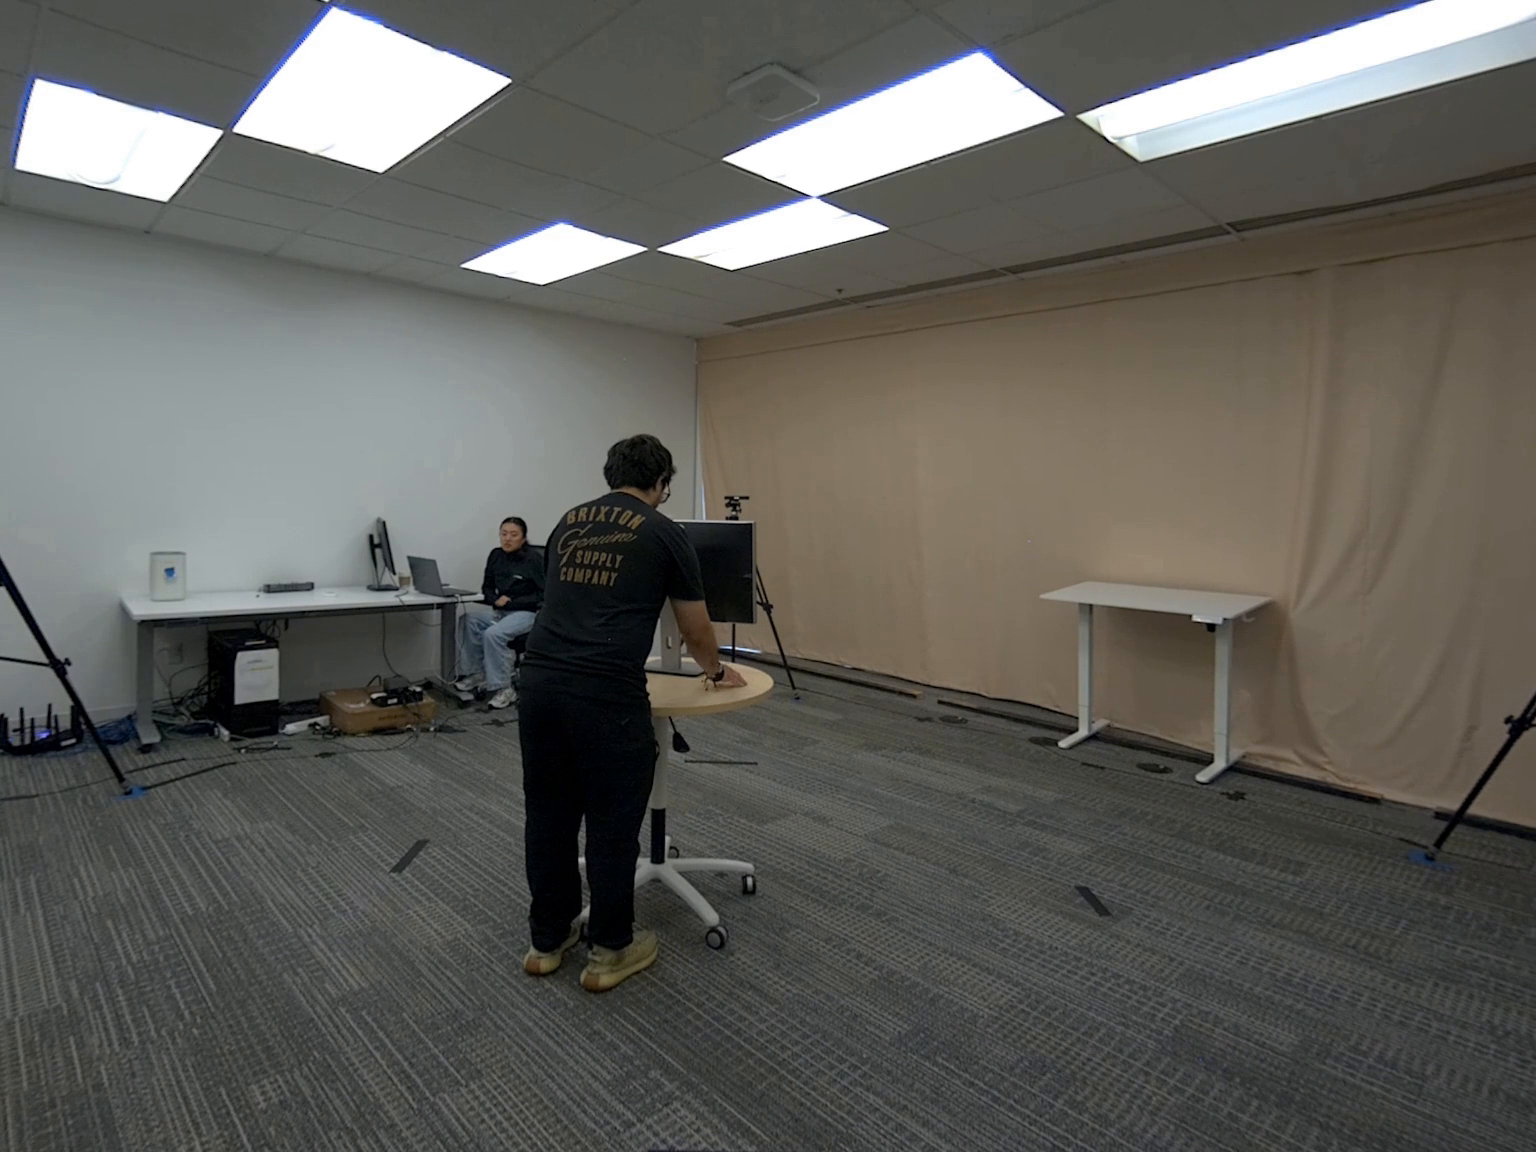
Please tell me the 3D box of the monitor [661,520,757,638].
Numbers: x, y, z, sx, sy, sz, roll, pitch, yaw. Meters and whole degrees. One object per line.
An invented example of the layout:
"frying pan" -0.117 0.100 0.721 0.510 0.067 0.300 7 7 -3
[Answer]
"monitor" -0.333 0.079 2.967 0.575 0.551 0.207 3 7 21
